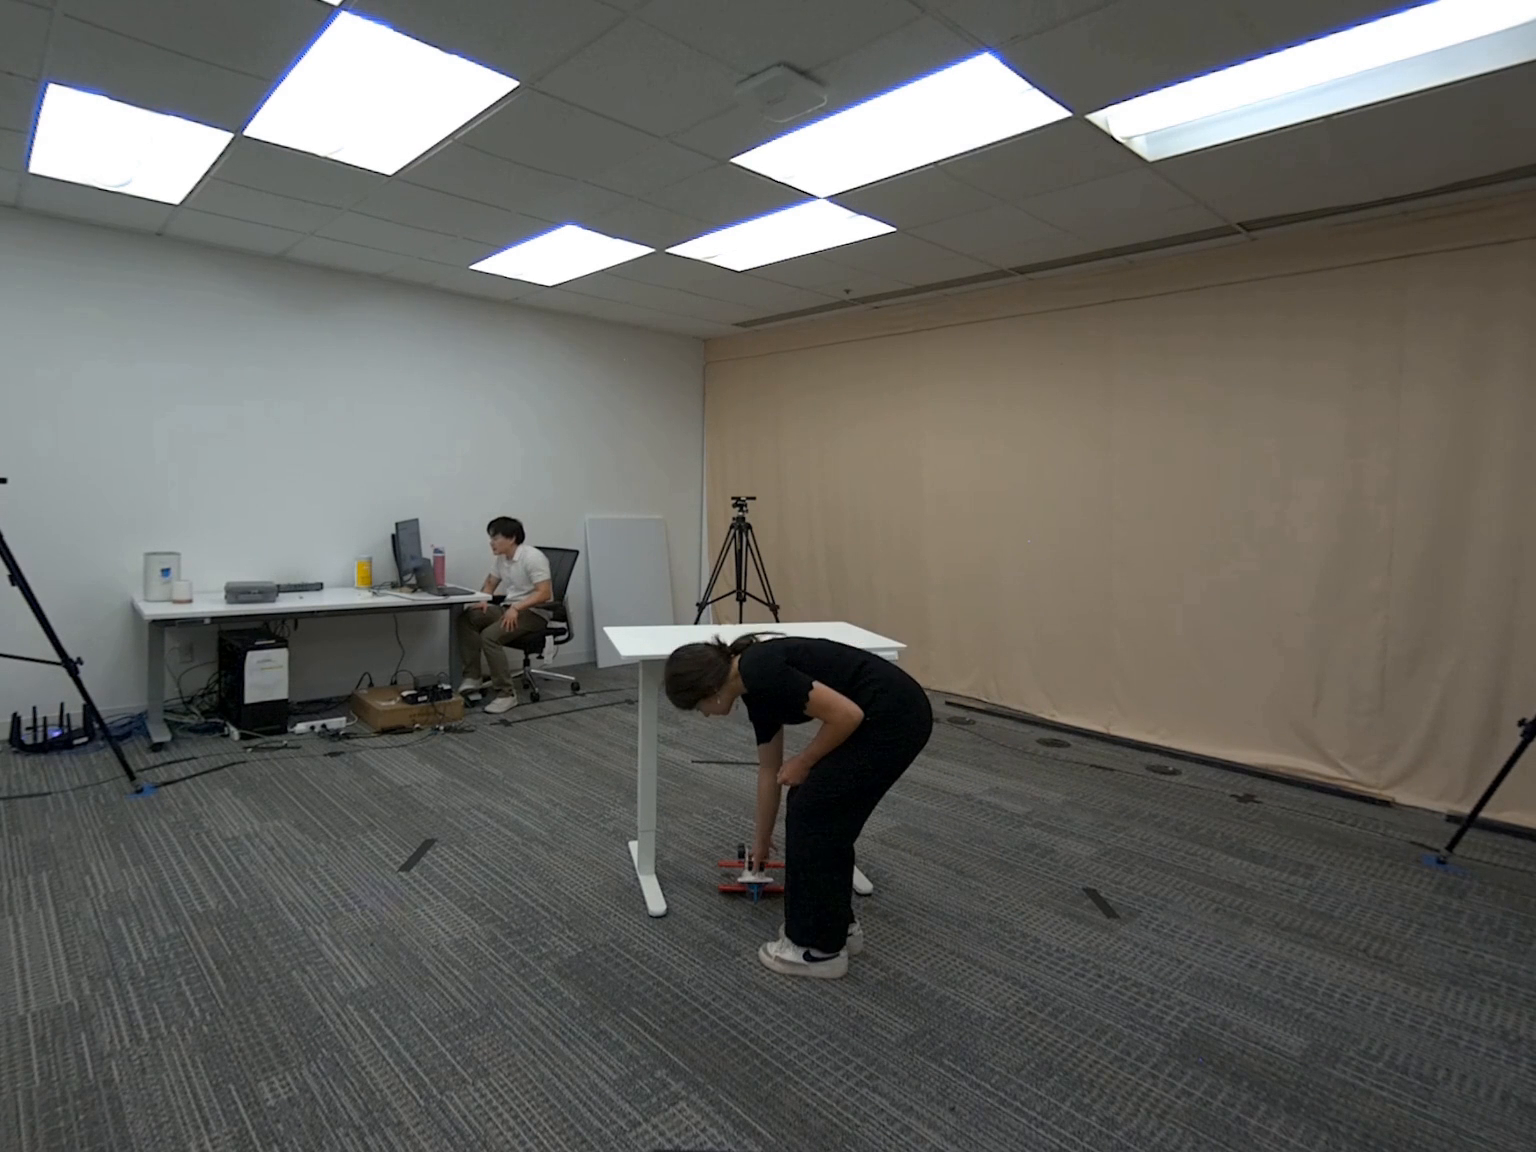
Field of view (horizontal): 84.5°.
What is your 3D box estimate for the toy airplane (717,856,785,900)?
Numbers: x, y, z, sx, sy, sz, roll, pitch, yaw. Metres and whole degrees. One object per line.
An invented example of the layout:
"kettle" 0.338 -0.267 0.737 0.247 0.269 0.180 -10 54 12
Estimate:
"toy airplane" -0.074 1.040 2.936 0.256 0.156 0.254 0 1 26
